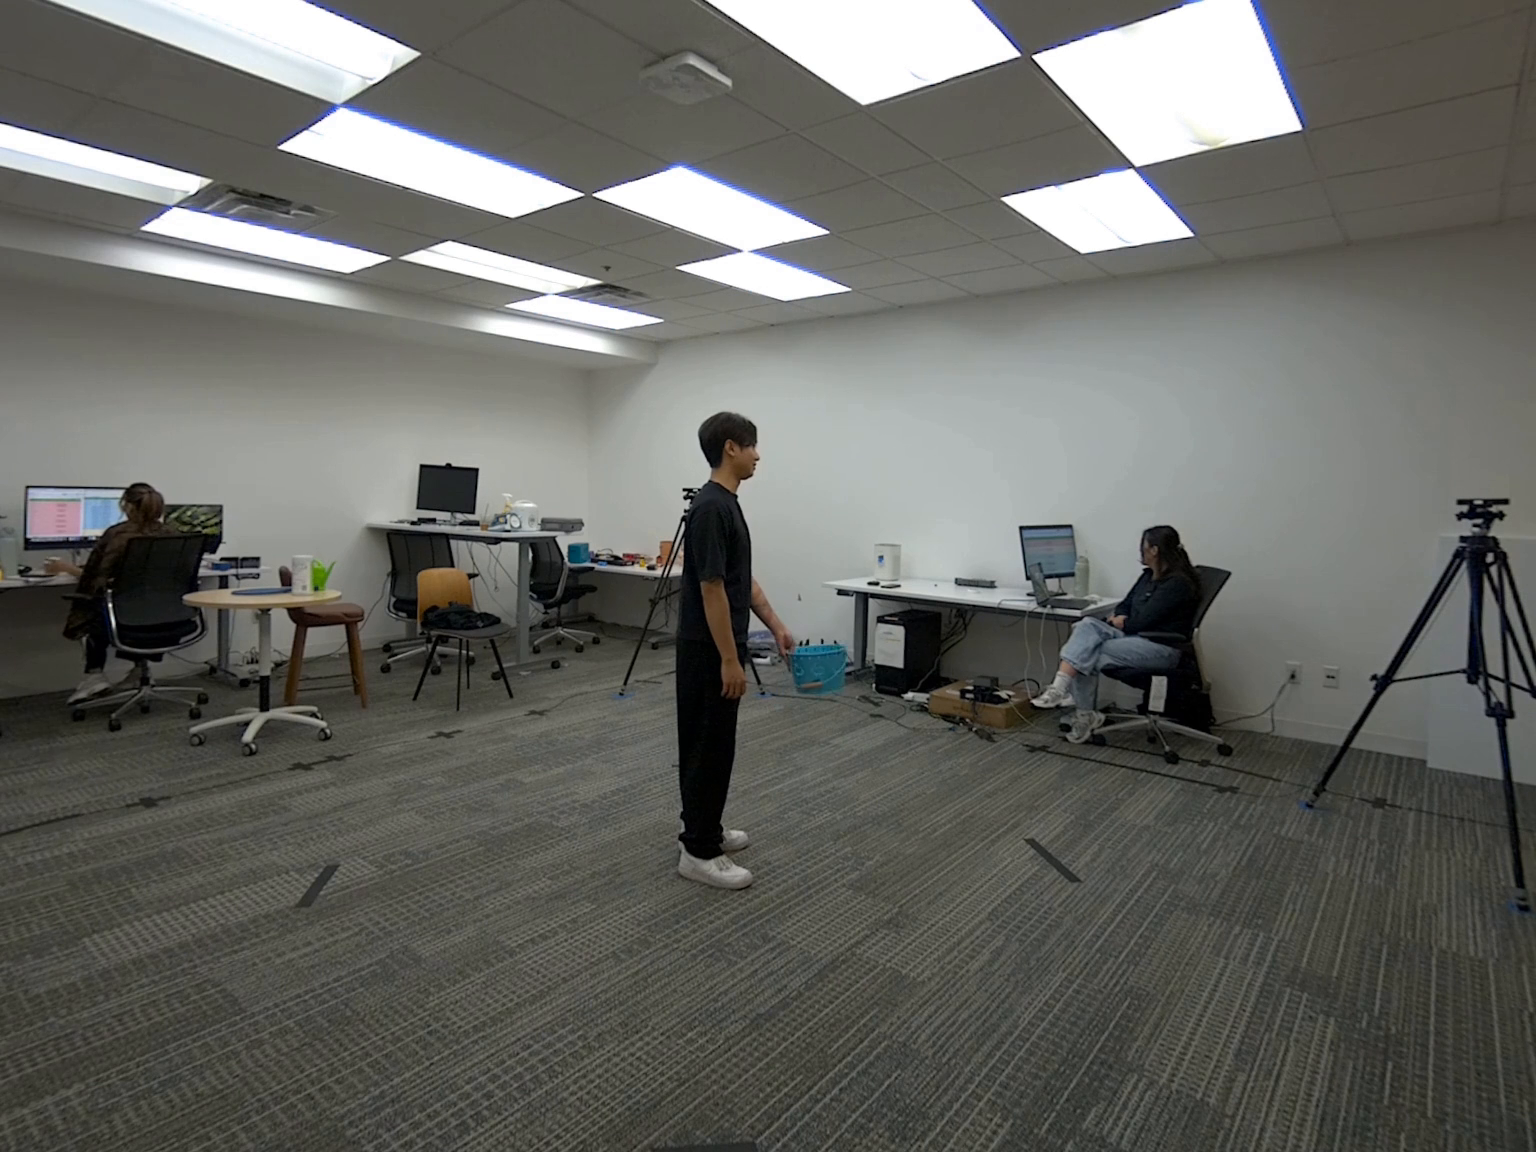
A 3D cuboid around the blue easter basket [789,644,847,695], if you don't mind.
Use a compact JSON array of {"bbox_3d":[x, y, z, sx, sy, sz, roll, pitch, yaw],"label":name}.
[{"bbox_3d":[0.164,0.346,3.185,0.243,0.156,0.244,-6,1,-2],"label":"blue easter basket"}]
